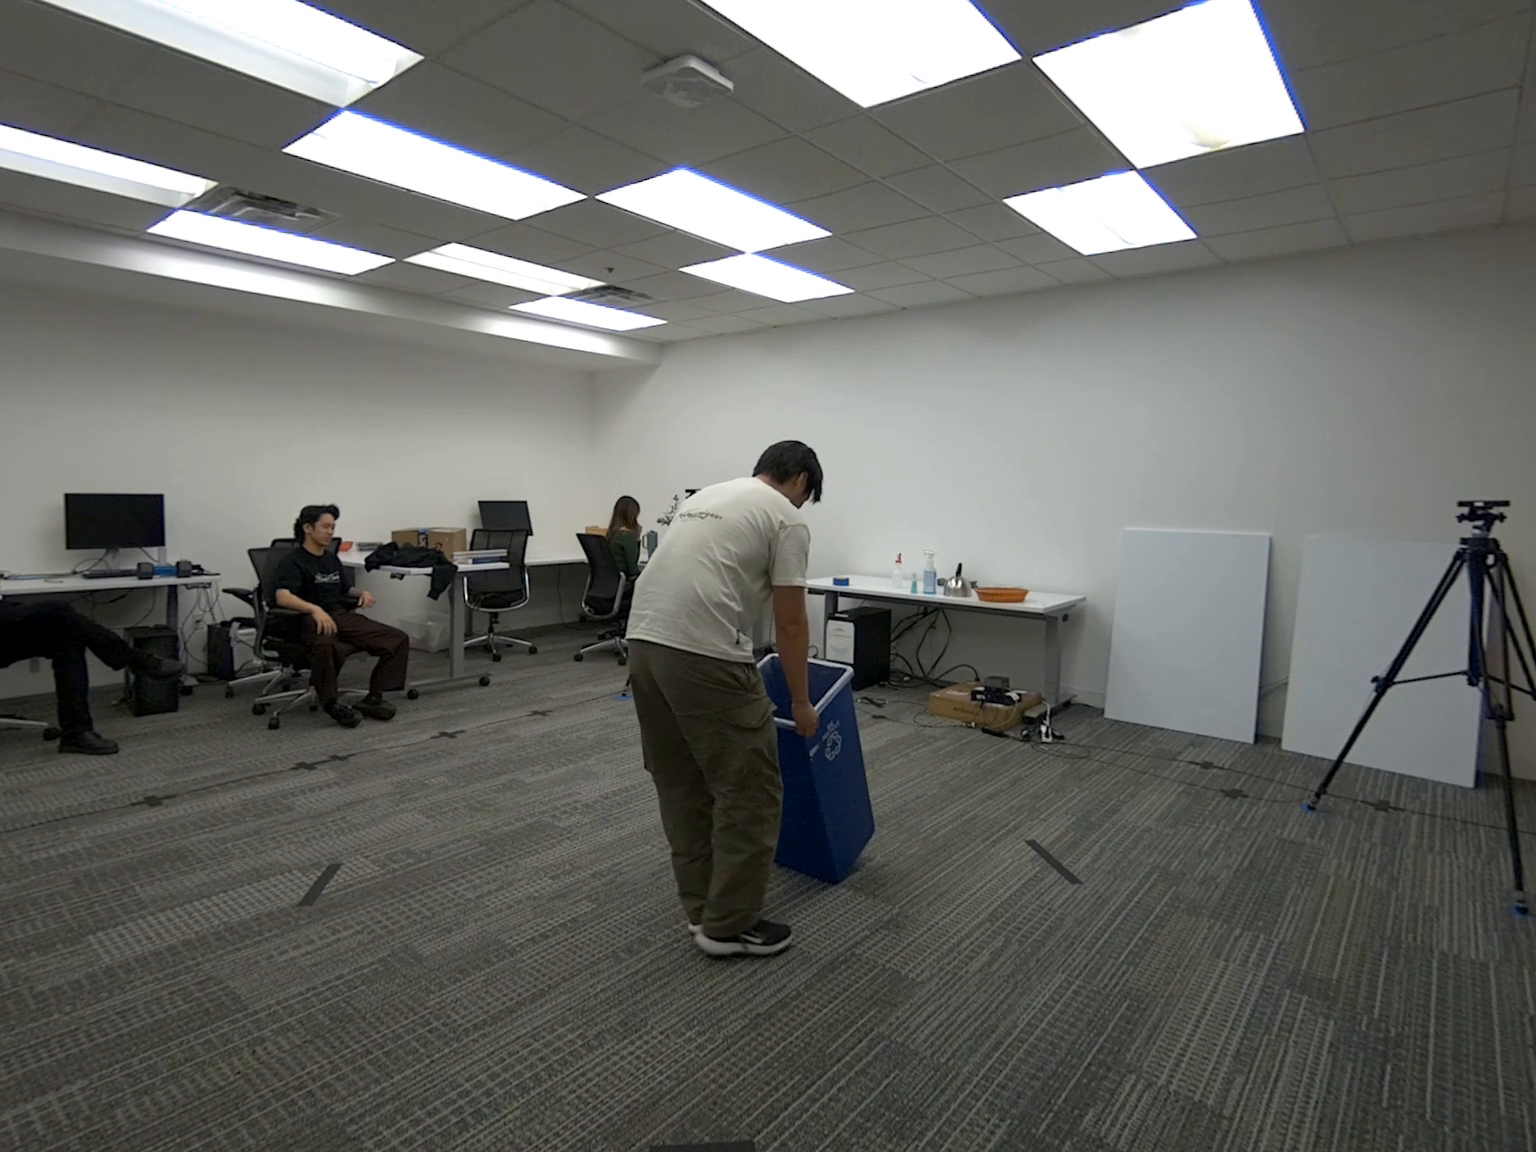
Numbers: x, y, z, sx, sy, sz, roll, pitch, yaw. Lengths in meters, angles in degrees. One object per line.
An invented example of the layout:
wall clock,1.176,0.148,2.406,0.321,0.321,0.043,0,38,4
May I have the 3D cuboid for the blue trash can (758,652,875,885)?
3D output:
blue trash can,0.126,0.693,3.082,0.391,0.696,0.371,5,29,38
